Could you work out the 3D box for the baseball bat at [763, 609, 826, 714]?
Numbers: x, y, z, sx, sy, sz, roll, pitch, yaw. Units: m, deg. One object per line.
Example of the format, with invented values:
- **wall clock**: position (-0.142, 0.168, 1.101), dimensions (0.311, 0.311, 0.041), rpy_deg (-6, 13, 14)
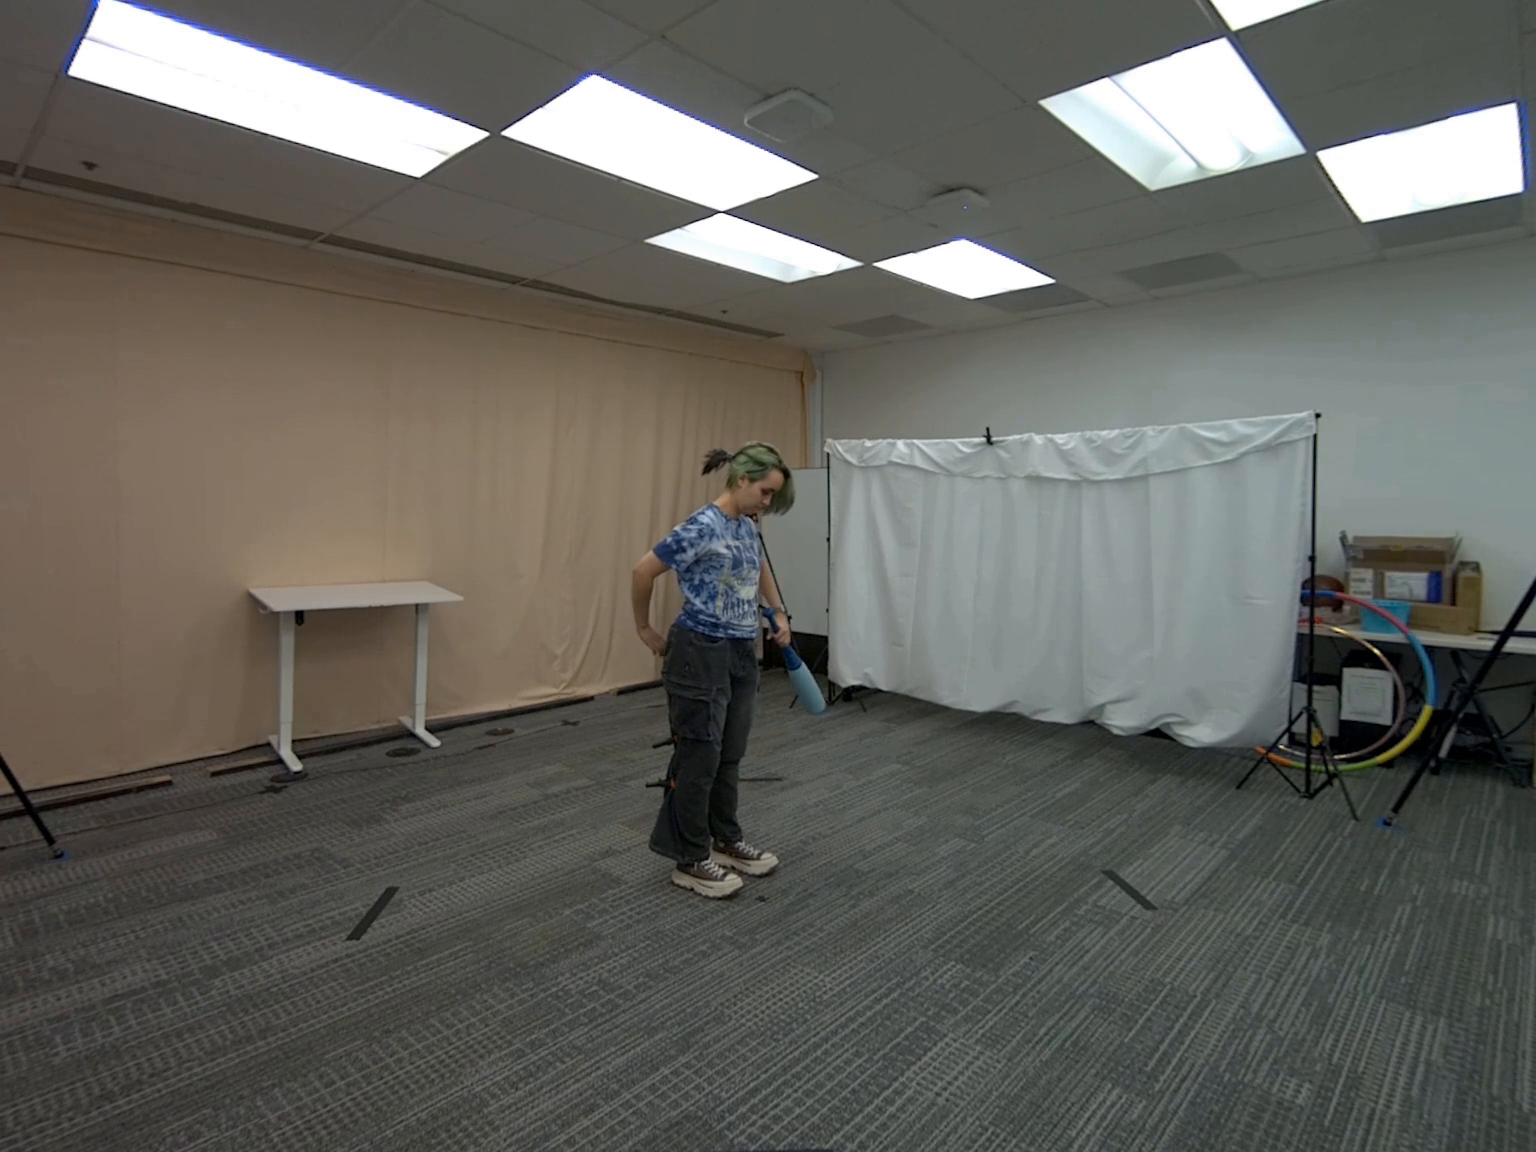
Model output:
- **baseball bat**: position (0.093, 0.350, 3.396), dimensions (0.090, 0.529, 0.090), rpy_deg (-21, 27, 10)
